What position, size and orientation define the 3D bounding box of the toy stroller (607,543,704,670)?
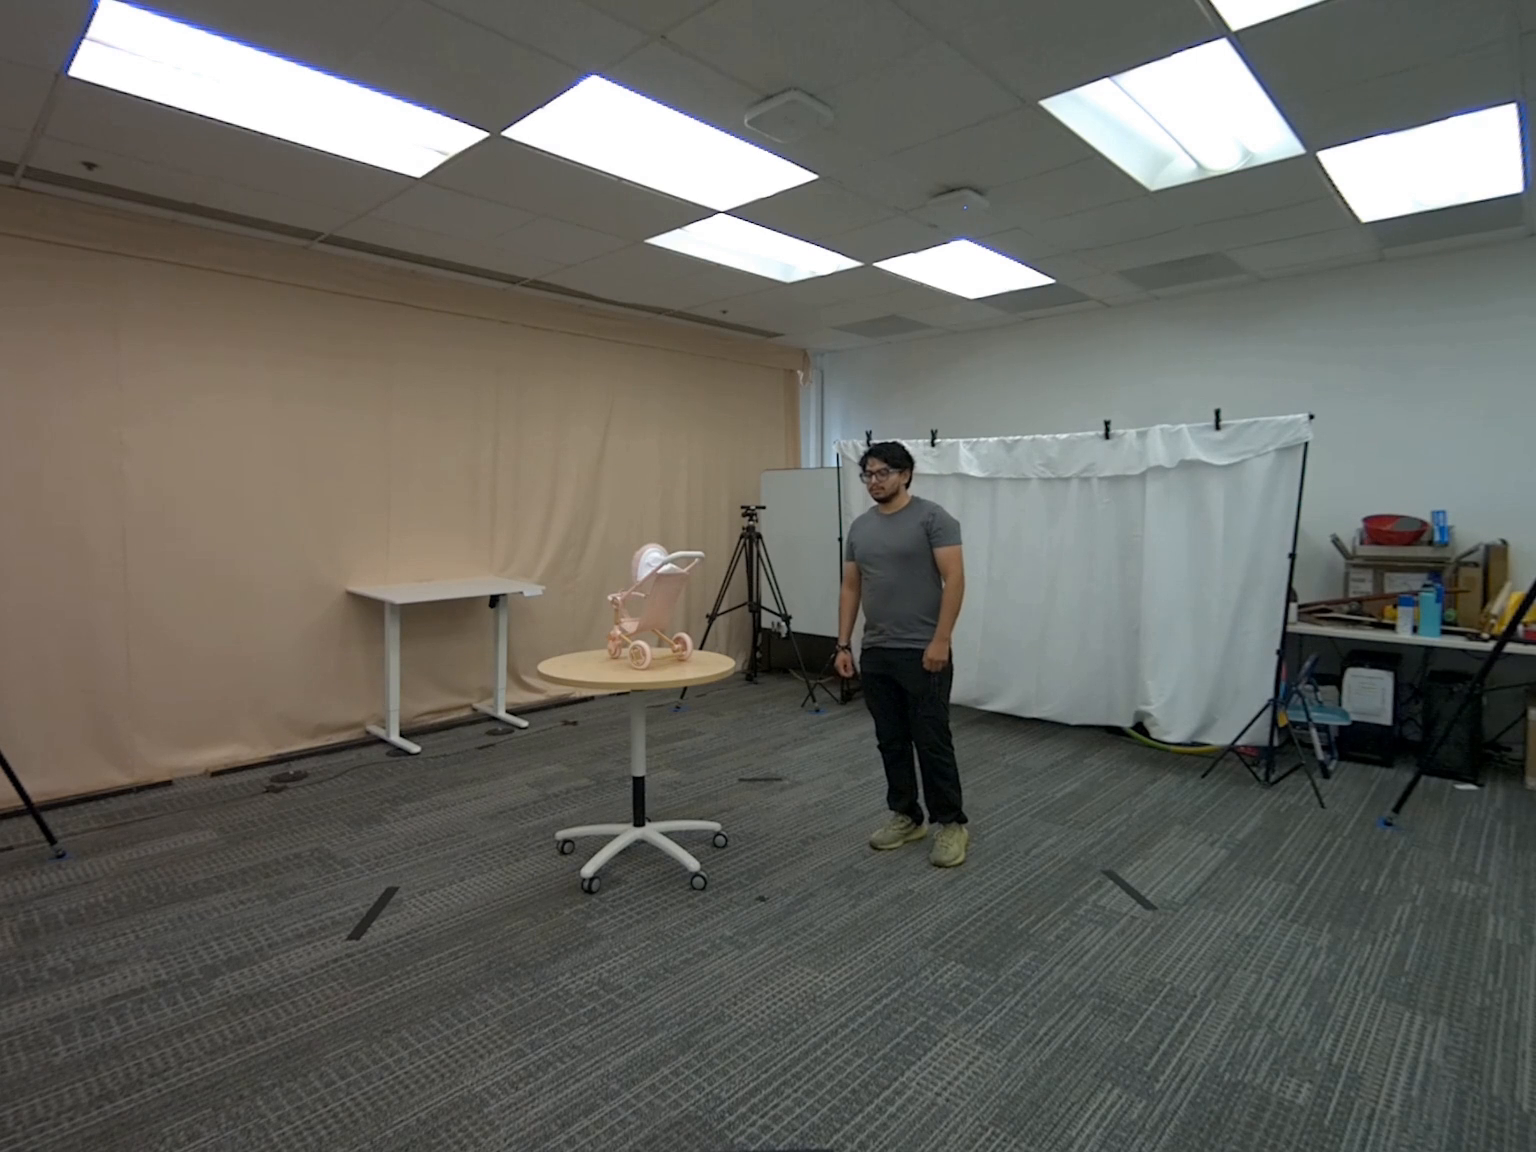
[{"bbox_3d":[-0.459,0.118,3.276,0.354,0.532,0.273,21,15,38],"label":"toy stroller"}]
